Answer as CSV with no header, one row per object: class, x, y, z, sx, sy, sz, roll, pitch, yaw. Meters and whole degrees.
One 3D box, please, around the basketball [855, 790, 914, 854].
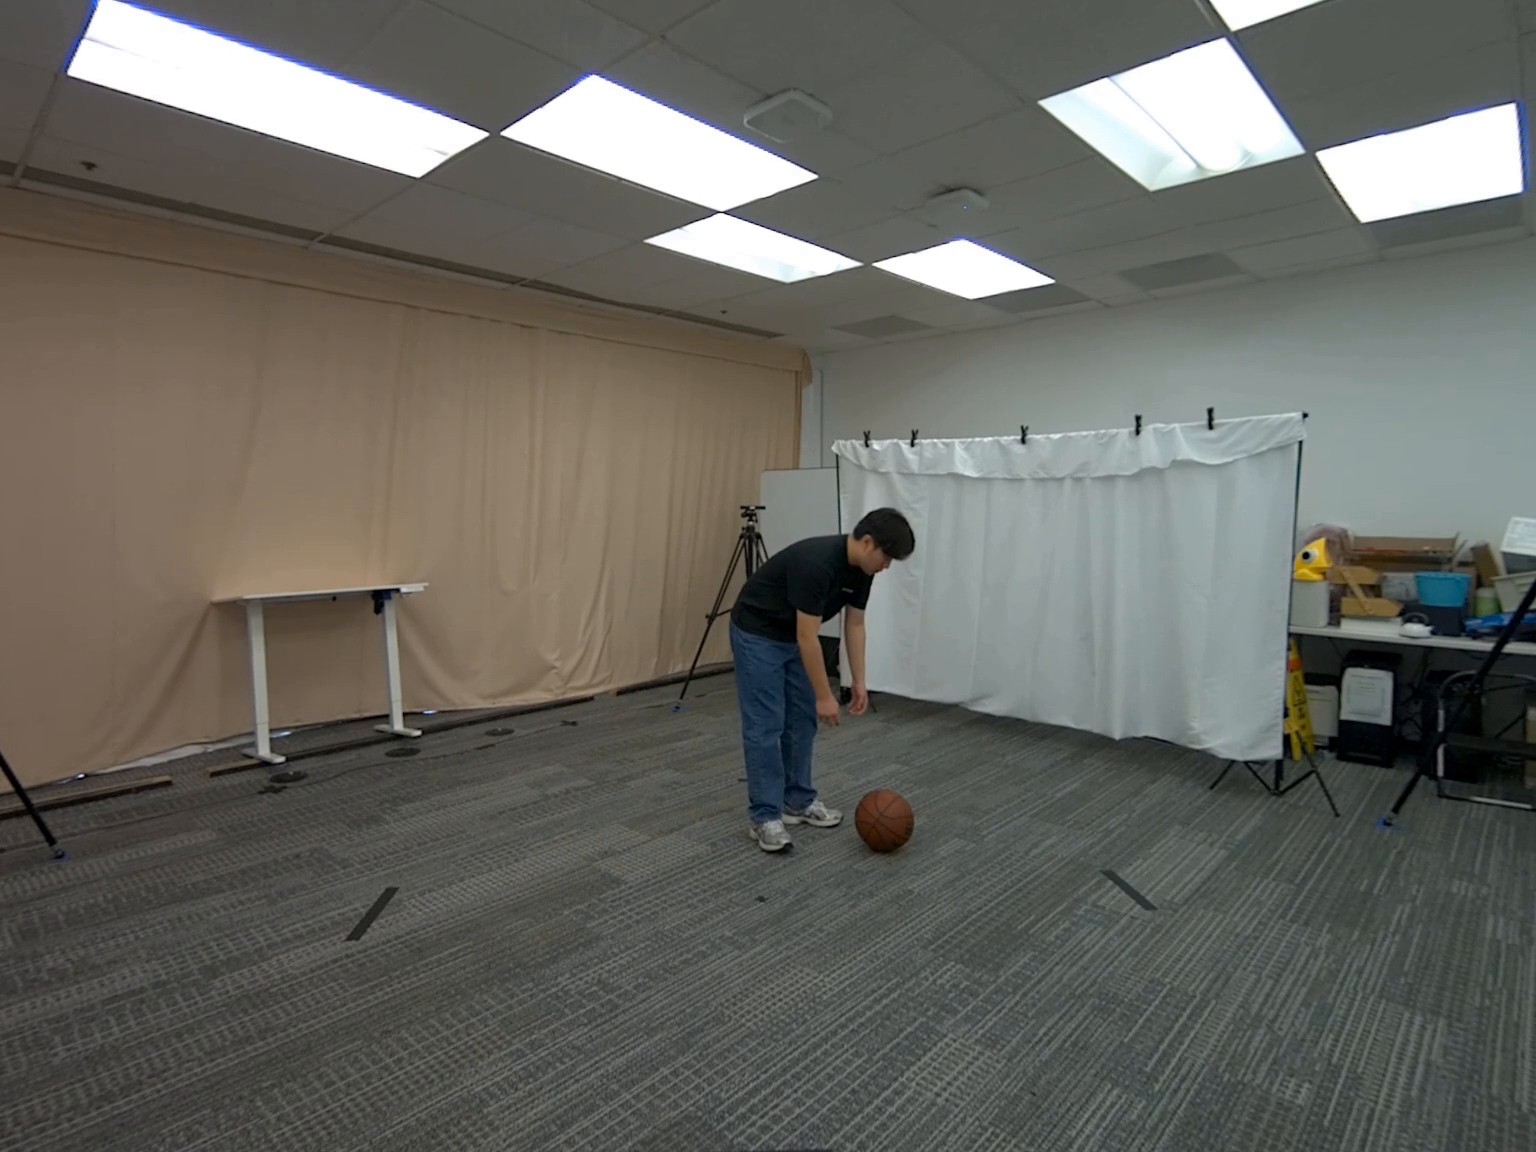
basketball,0.471,0.988,3.412,0.236,0.235,0.237,0,4,-2
